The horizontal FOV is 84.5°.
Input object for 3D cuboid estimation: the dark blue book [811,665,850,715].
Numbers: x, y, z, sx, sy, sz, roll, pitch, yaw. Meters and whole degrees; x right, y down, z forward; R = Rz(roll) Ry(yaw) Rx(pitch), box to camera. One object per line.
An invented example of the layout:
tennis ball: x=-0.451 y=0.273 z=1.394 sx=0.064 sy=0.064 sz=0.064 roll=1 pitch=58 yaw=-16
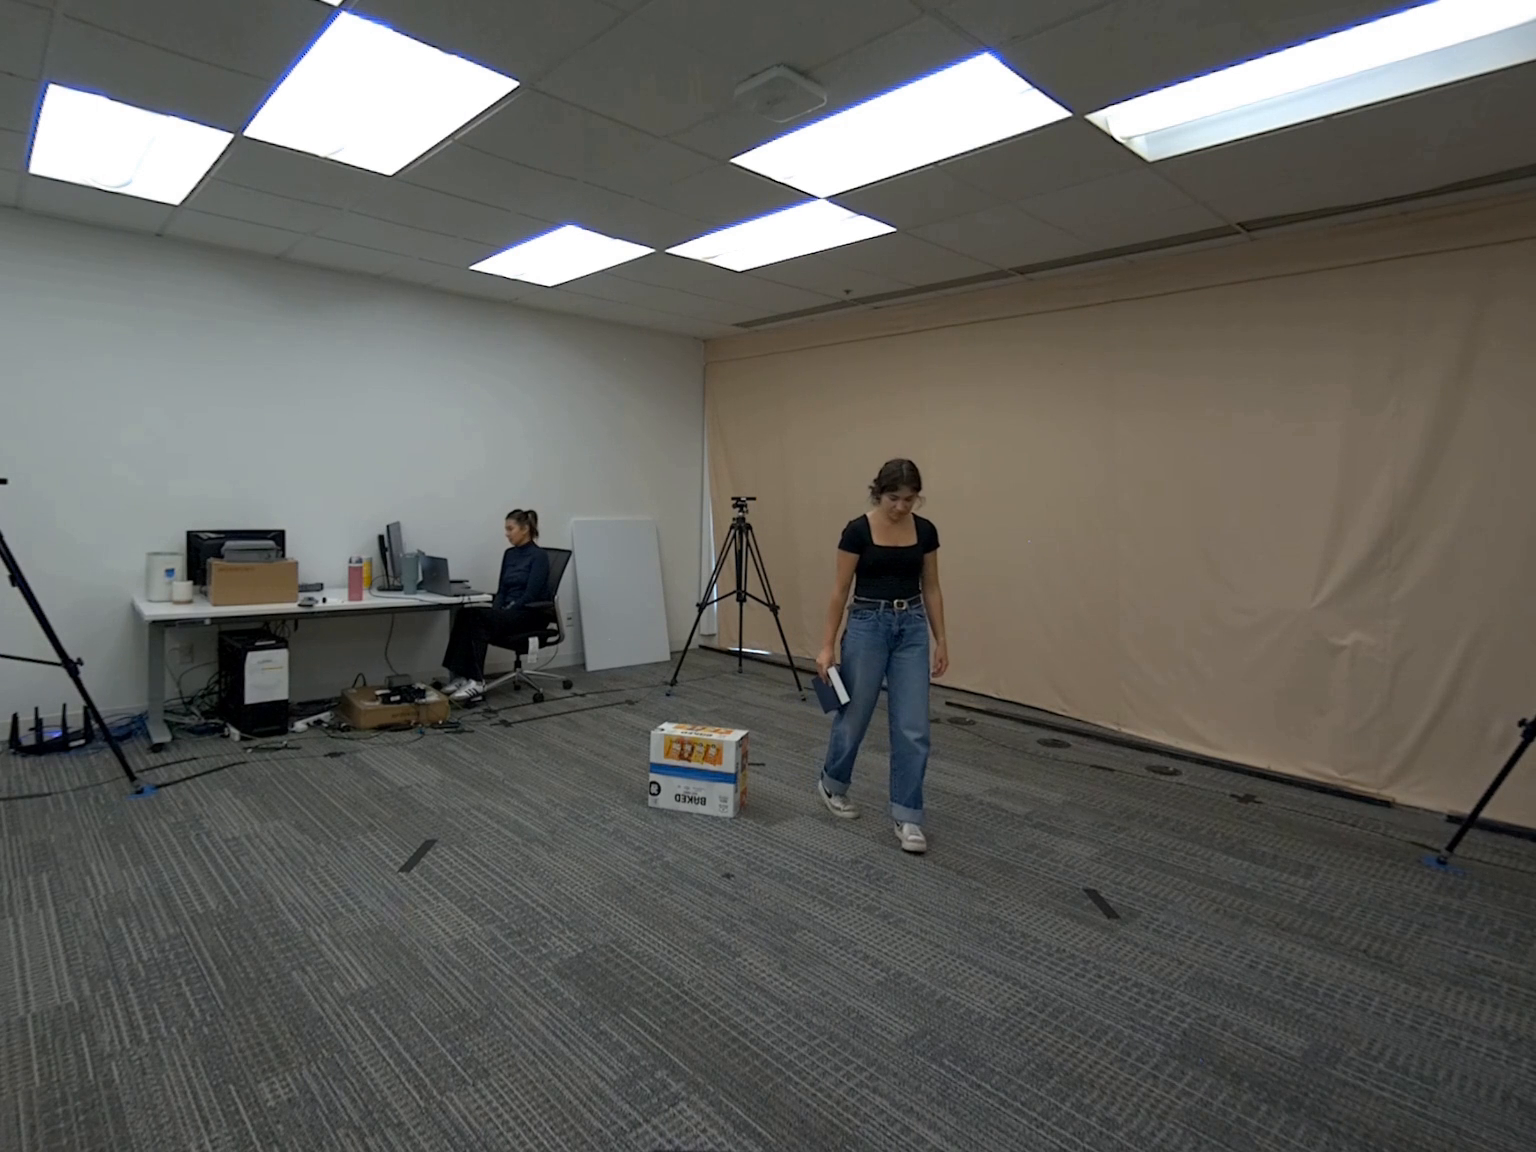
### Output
dark blue book: x=0.258 y=0.485 z=3.559 sx=0.045 sy=0.166 sz=0.244 roll=-16 pitch=-15 yaw=-17
